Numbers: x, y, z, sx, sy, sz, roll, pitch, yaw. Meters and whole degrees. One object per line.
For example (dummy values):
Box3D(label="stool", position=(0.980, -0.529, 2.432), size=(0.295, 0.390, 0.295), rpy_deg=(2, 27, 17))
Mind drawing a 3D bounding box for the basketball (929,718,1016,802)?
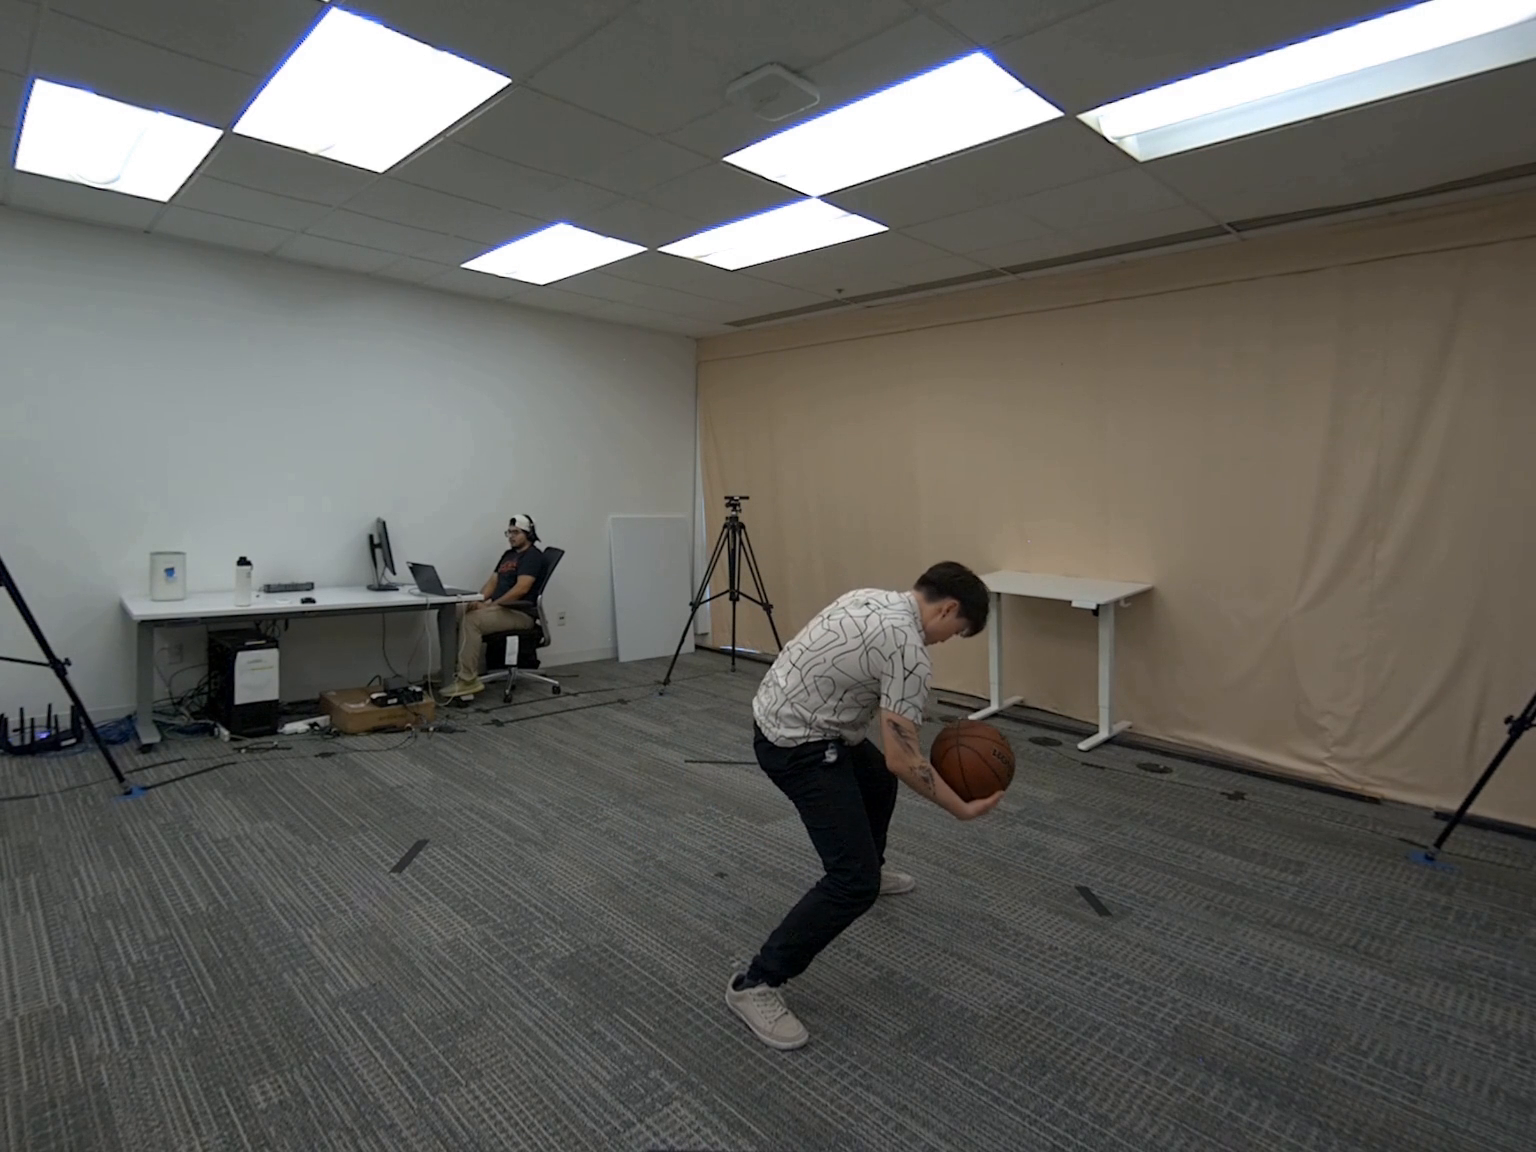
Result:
Box3D(label="basketball", position=(0.579, 0.547, 2.450), size=(0.236, 0.235, 0.237), rpy_deg=(1, 4, -1))
